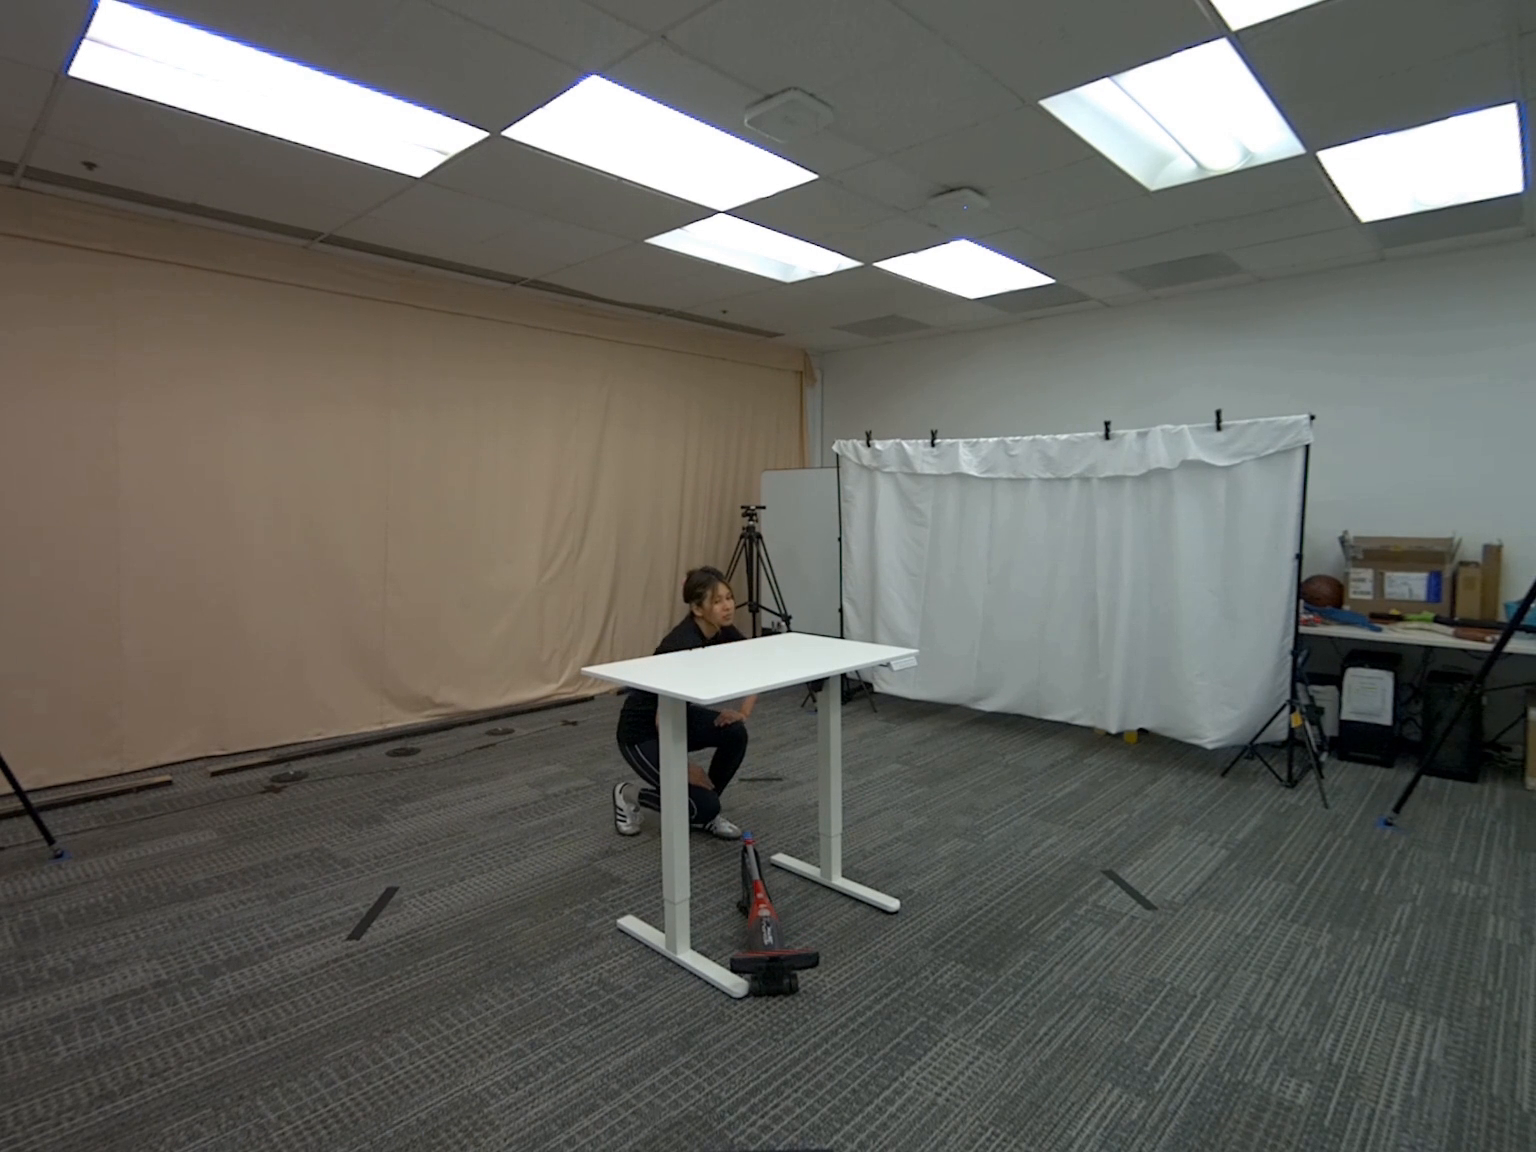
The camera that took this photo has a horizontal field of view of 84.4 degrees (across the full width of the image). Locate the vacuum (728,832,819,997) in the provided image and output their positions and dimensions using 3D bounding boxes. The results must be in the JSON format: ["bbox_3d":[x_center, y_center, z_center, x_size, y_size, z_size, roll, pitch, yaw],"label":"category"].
[{"bbox_3d":[-0.035,1.086,2.884,0.251,0.144,1.056,-3,3,-6],"label":"vacuum"}]
